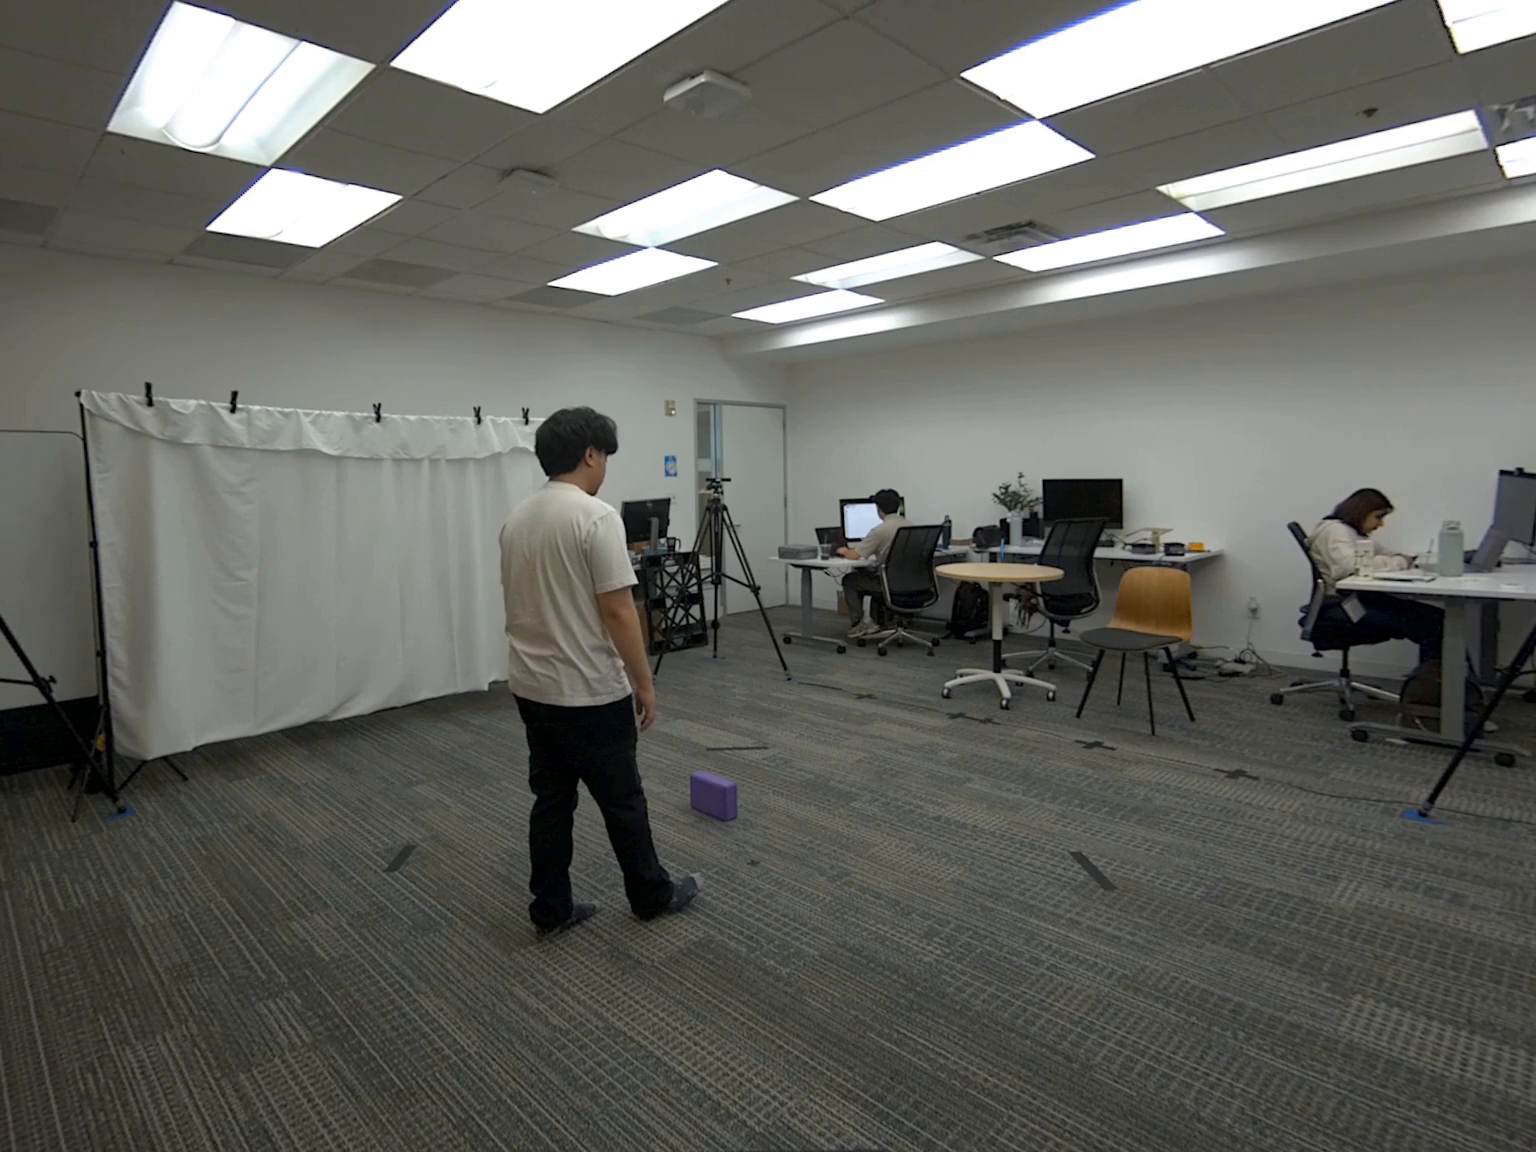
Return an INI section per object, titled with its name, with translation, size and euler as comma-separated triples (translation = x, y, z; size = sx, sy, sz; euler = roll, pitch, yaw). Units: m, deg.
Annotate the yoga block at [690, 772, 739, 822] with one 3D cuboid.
[yoga block]
translation = -0.227, 0.915, 3.578
size = 0.074, 0.148, 0.236
euler = -5, 6, -42
